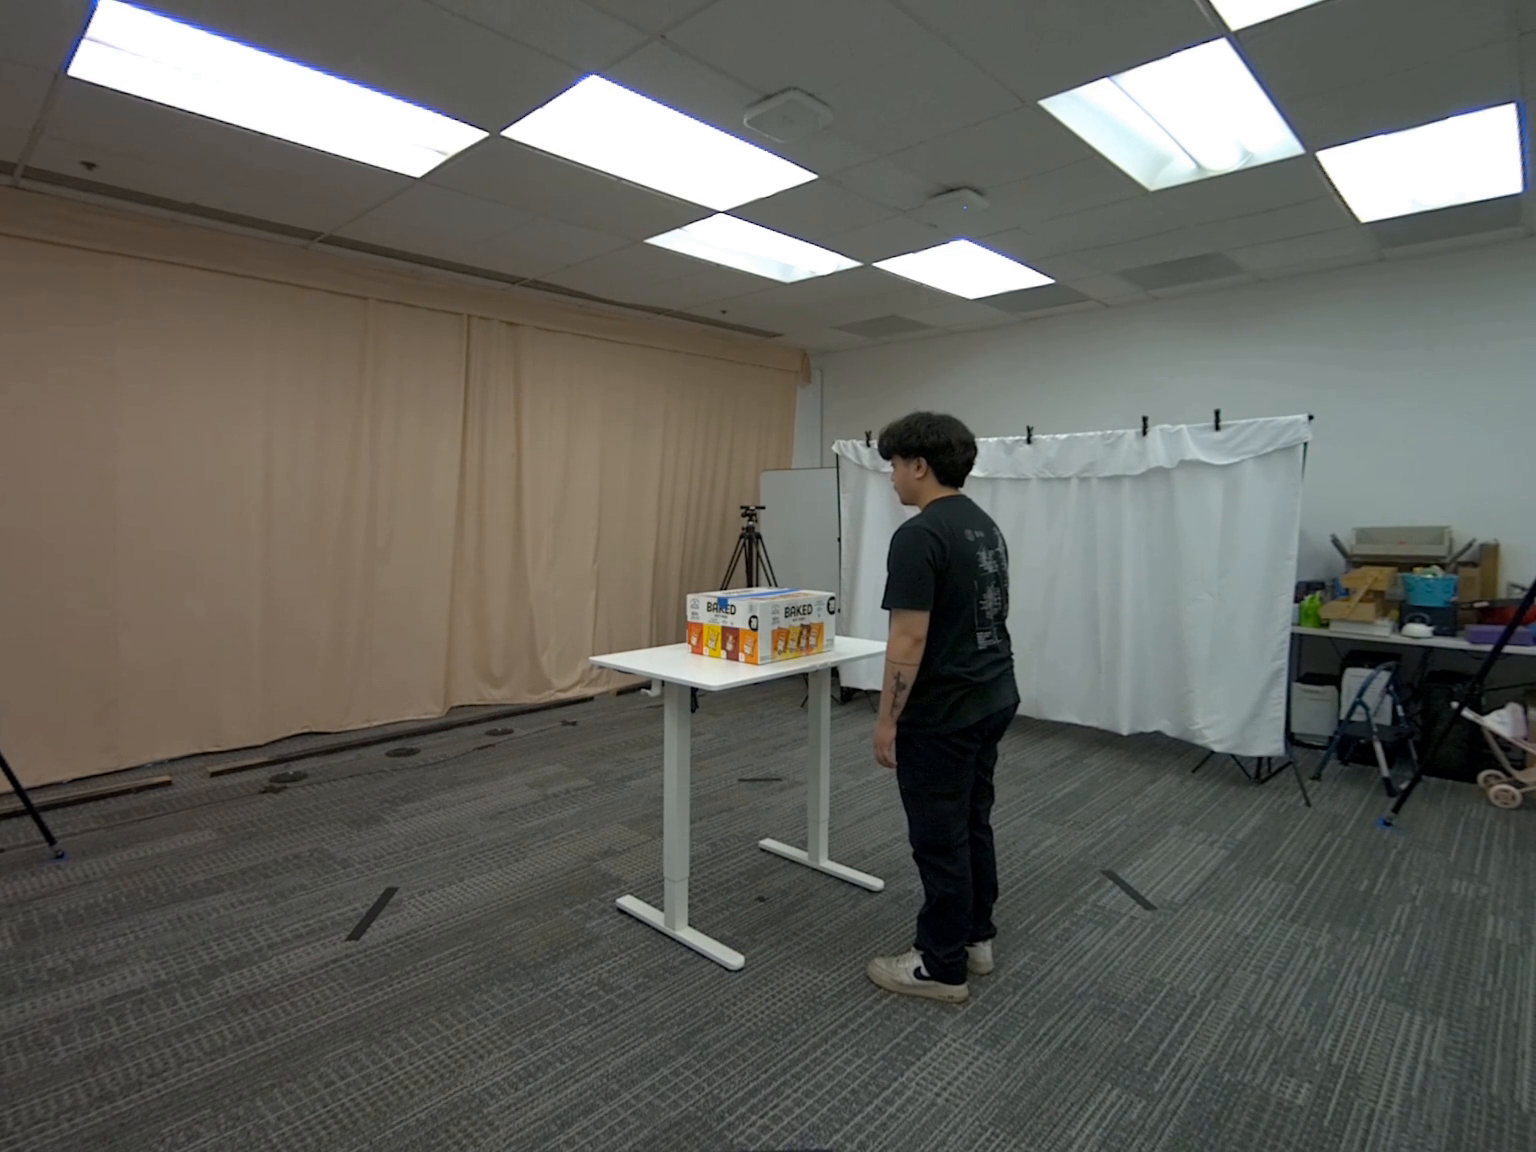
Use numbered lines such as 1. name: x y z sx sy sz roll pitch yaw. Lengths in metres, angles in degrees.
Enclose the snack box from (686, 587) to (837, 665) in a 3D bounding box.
1. snack box: -0.019 0.164 2.936 0.352 0.205 0.393 5 6 43
